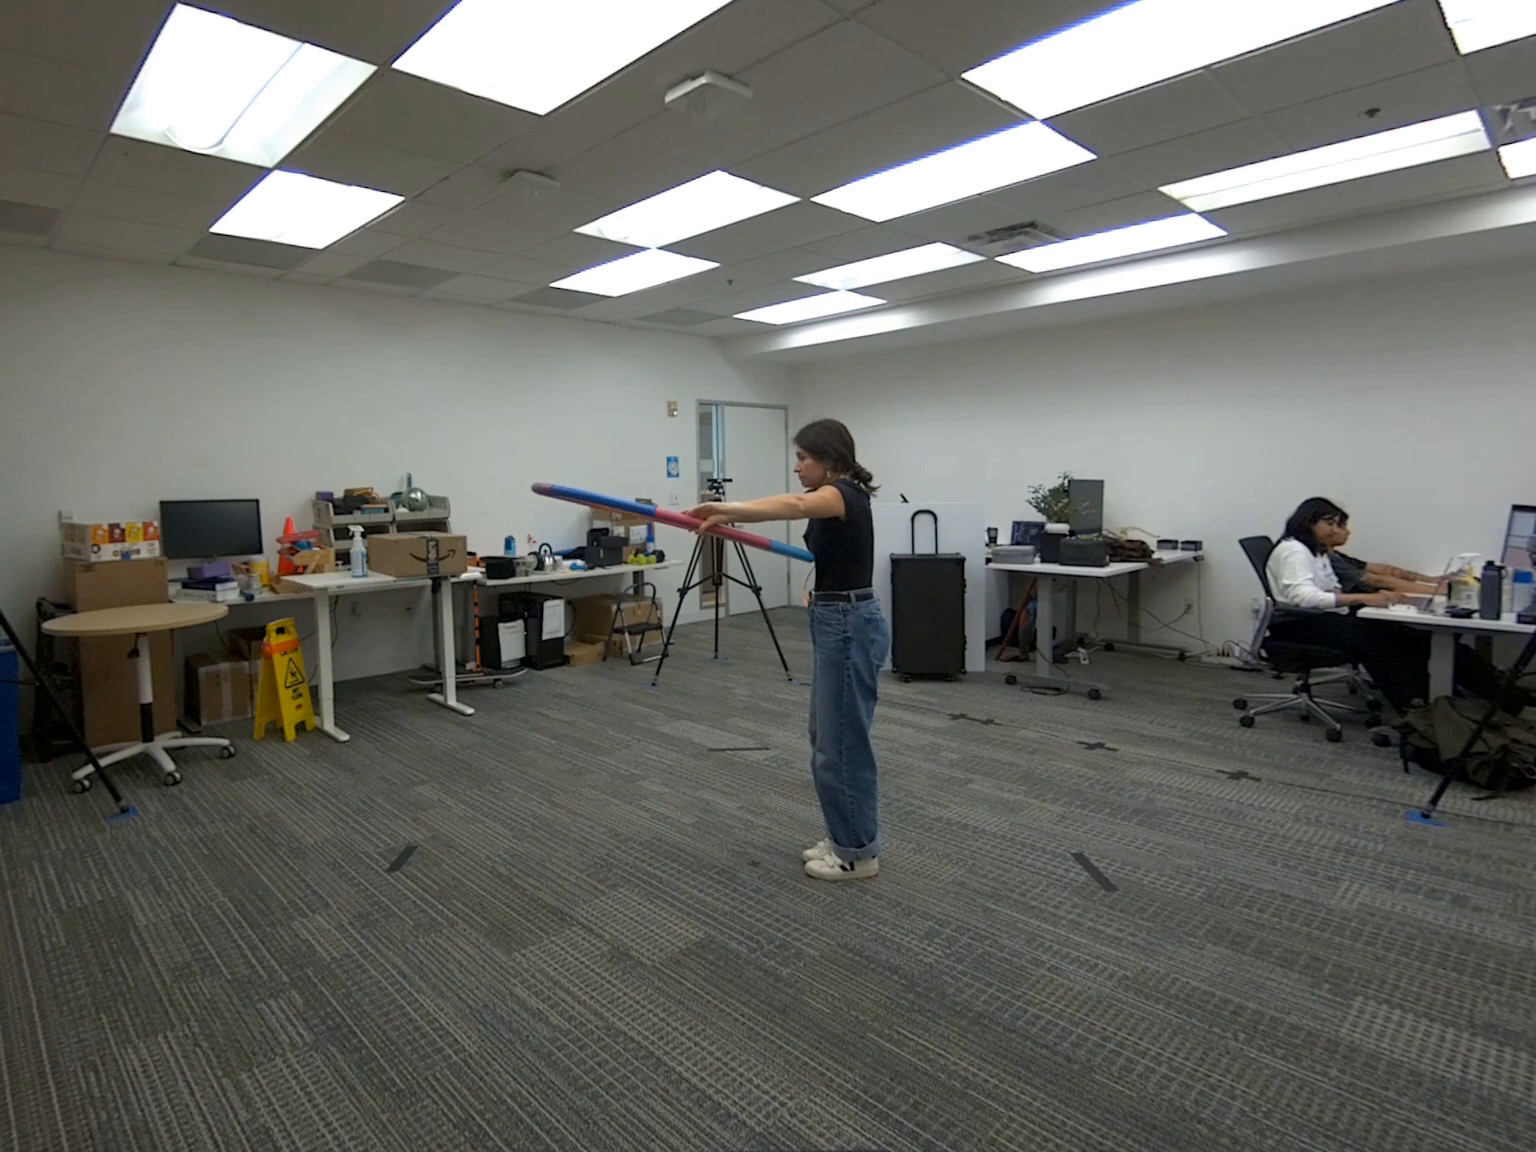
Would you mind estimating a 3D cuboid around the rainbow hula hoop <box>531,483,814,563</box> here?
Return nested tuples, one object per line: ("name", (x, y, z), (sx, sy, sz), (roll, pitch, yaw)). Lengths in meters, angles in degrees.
("rainbow hula hoop", (-0.315, -0.194, 2.945), (0.978, 0.035, 0.979), (13, 1, -2))
